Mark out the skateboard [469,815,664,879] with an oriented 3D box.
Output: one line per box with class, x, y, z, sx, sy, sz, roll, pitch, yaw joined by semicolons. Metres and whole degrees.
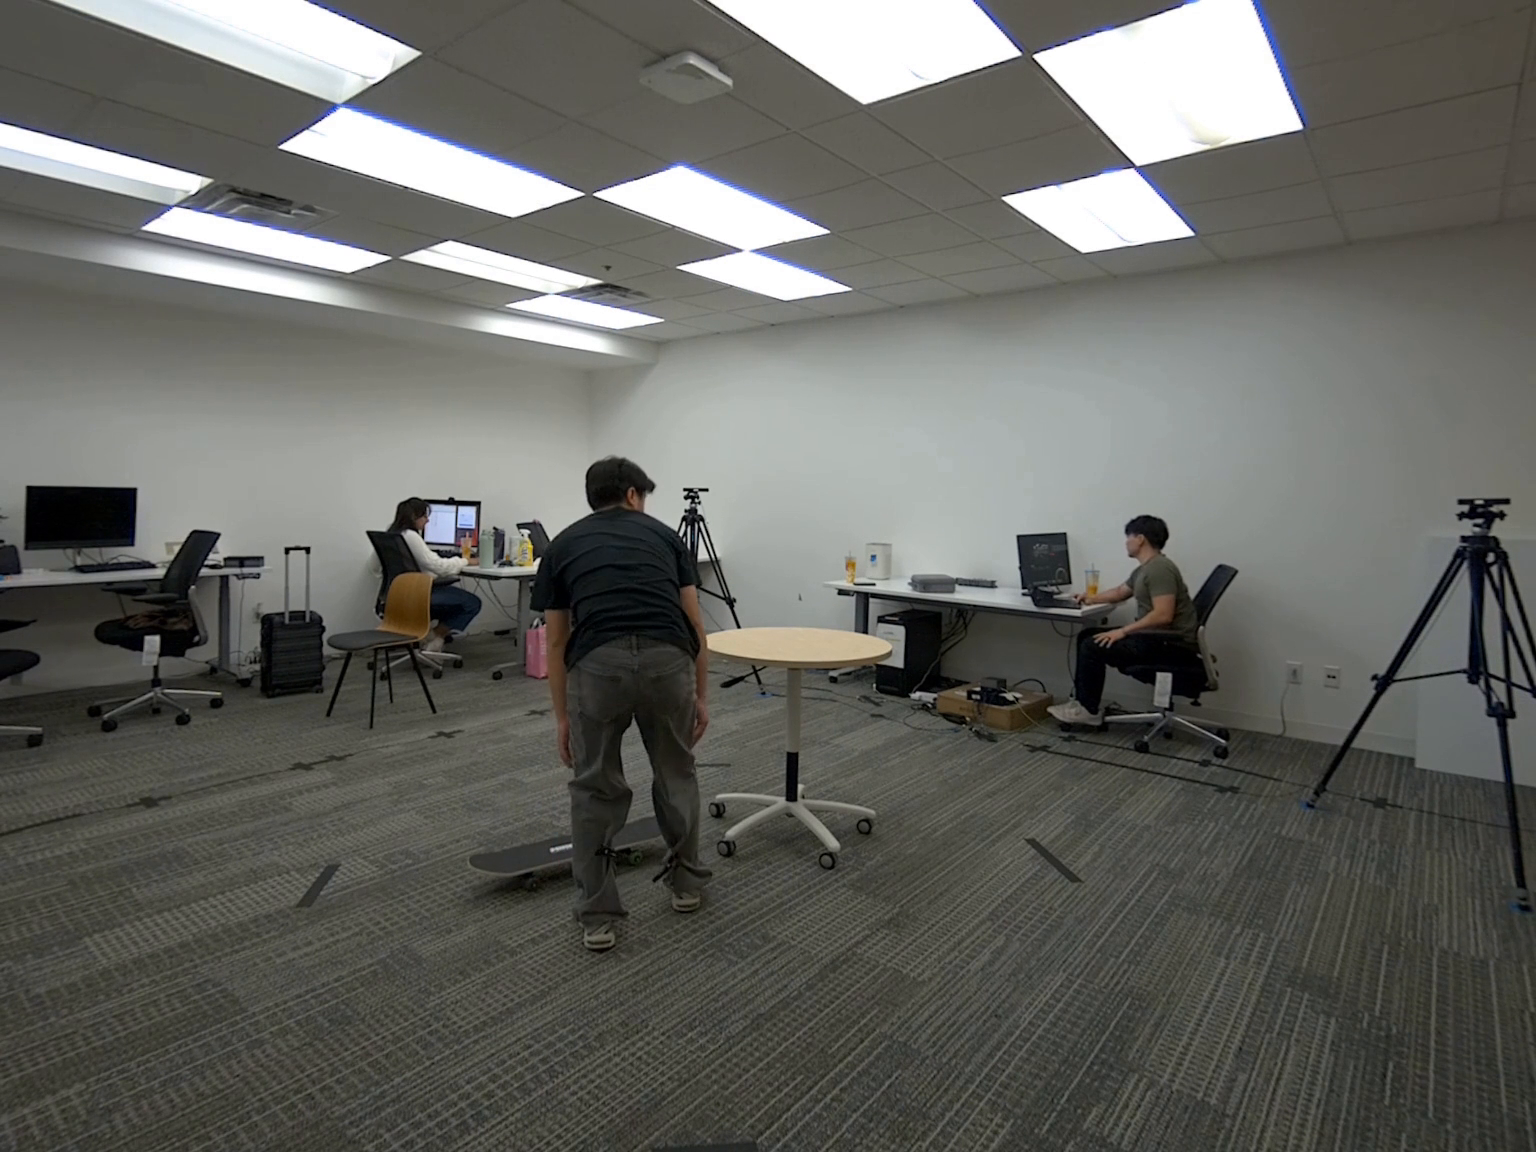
skateboard;-0.702;1.007;3.086;0.763;0.110;0.199;-2;4;-34
